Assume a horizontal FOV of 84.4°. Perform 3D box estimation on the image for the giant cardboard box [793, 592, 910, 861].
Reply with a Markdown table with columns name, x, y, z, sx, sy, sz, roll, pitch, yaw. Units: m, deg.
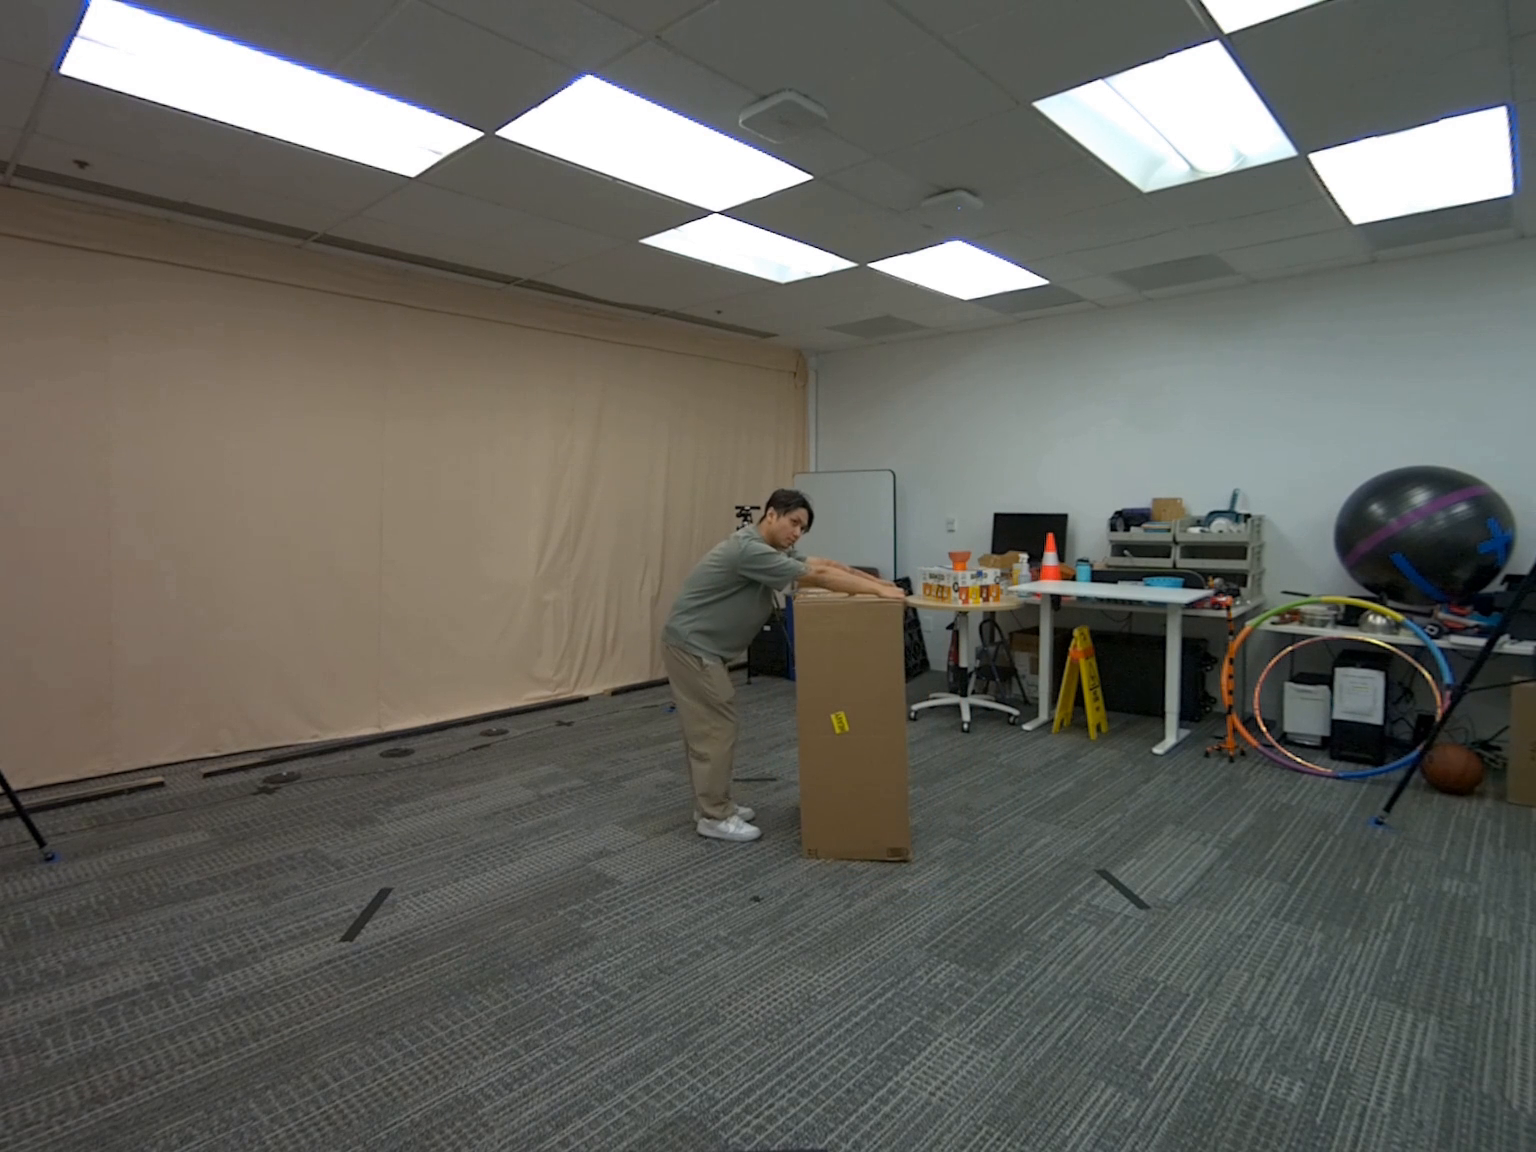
| name | x | y | z | sx | sy | sz | roll | pitch | yaw |
| --- | --- | --- | --- | --- | --- | --- | --- | --- | --- |
| giant cardboard box | 0.351 | 0.582 | 3.562 | 0.429 | 1.024 | 0.574 | -2 | 3 | 5 |
